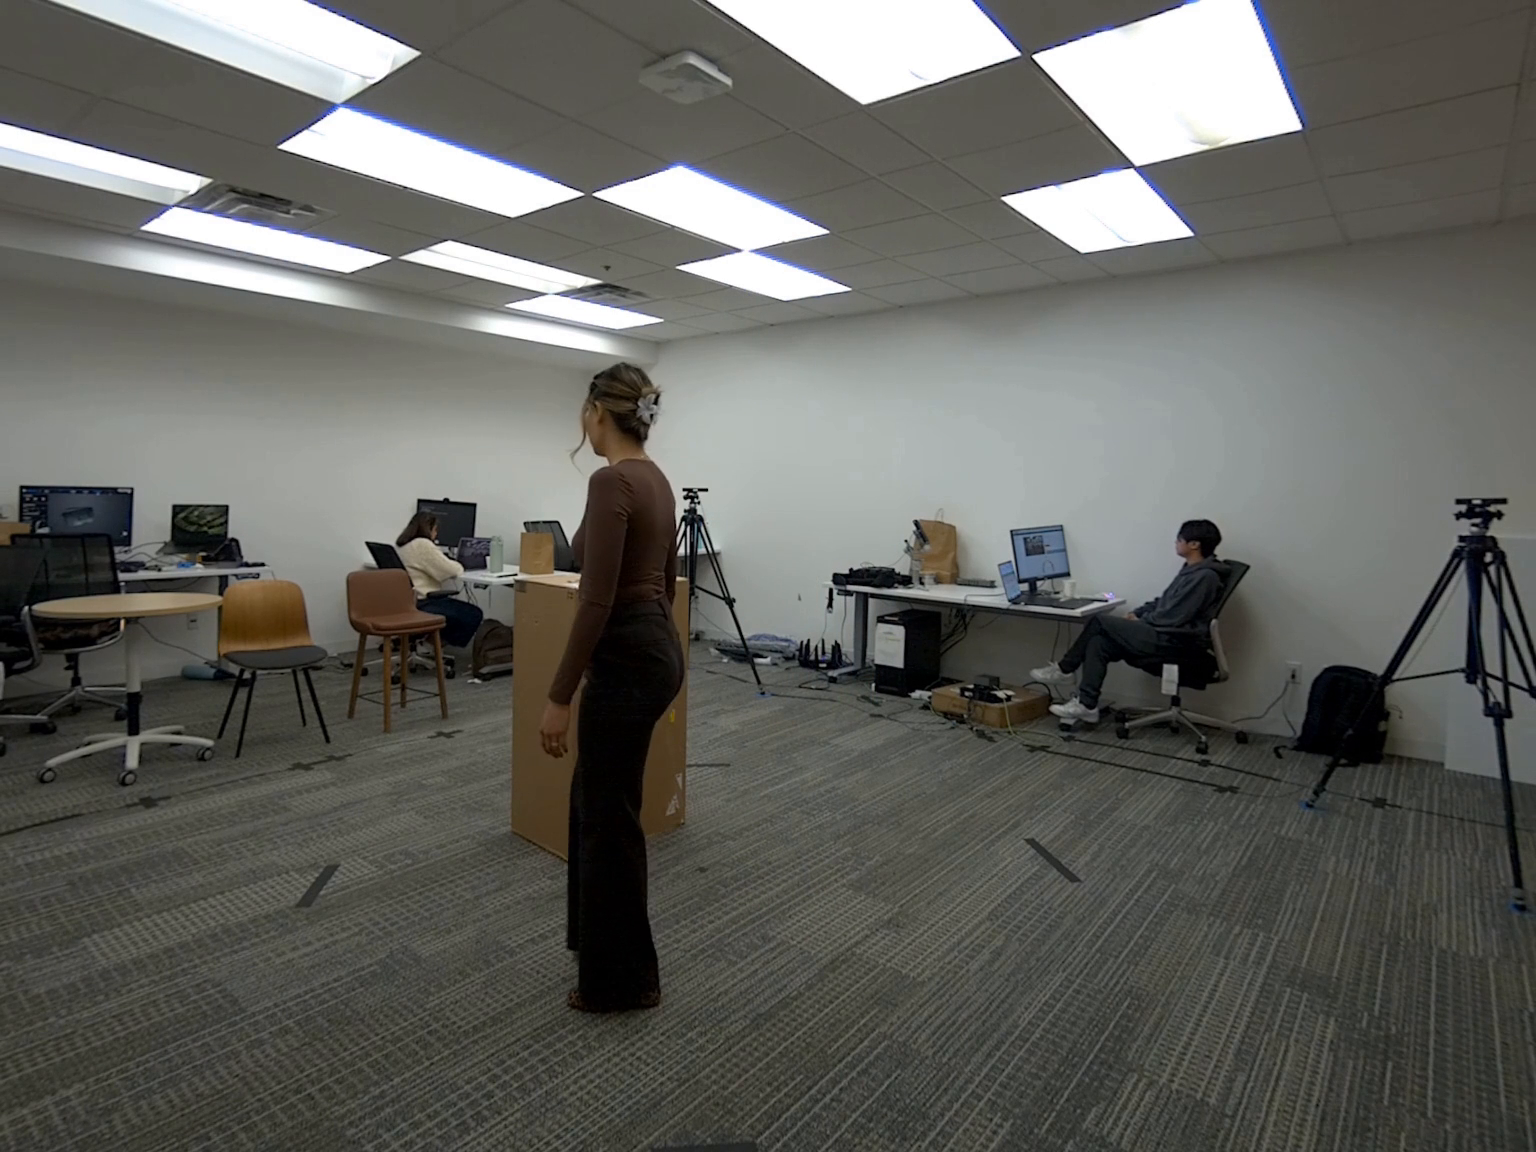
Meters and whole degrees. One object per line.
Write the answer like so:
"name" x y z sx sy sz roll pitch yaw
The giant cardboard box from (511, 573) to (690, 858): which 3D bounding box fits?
"giant cardboard box" -0.689 0.517 3.454 0.462 1.024 0.566 5 4 44
